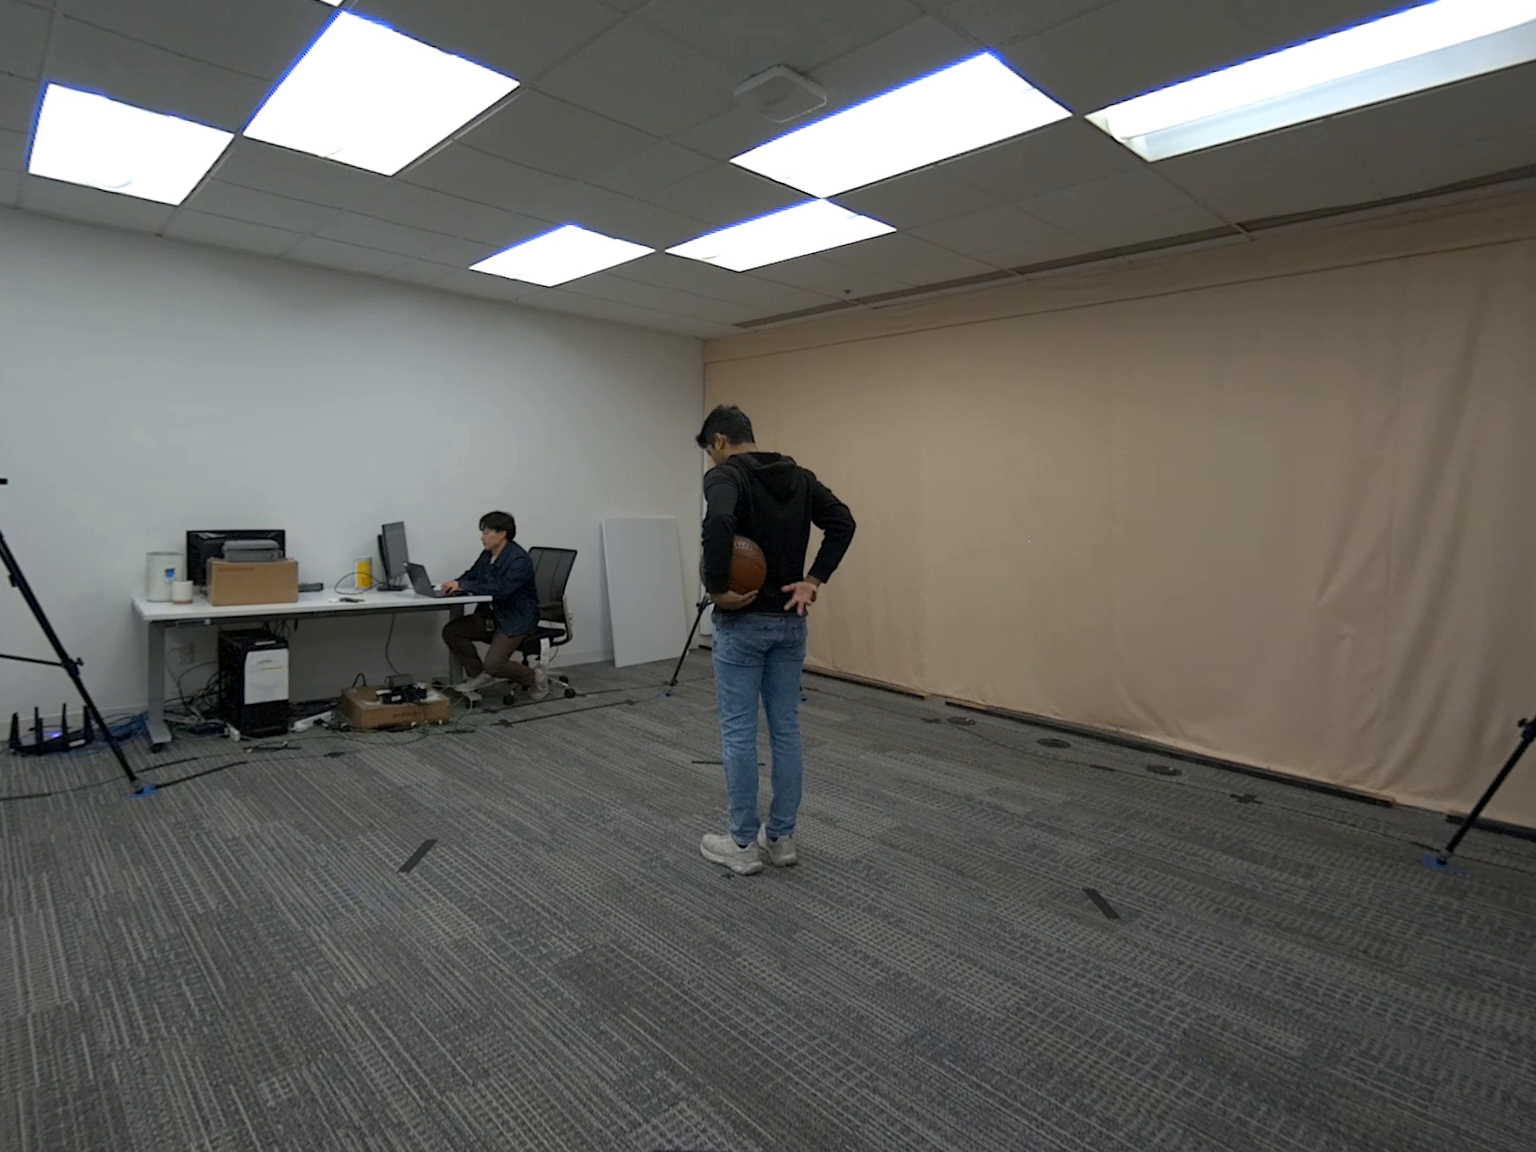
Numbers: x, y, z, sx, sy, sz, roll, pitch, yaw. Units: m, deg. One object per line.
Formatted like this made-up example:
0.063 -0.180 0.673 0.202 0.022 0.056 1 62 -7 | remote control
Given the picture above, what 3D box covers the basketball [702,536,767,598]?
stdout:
-0.130 -0.025 2.978 0.236 0.235 0.237 1 4 -1 | basketball
